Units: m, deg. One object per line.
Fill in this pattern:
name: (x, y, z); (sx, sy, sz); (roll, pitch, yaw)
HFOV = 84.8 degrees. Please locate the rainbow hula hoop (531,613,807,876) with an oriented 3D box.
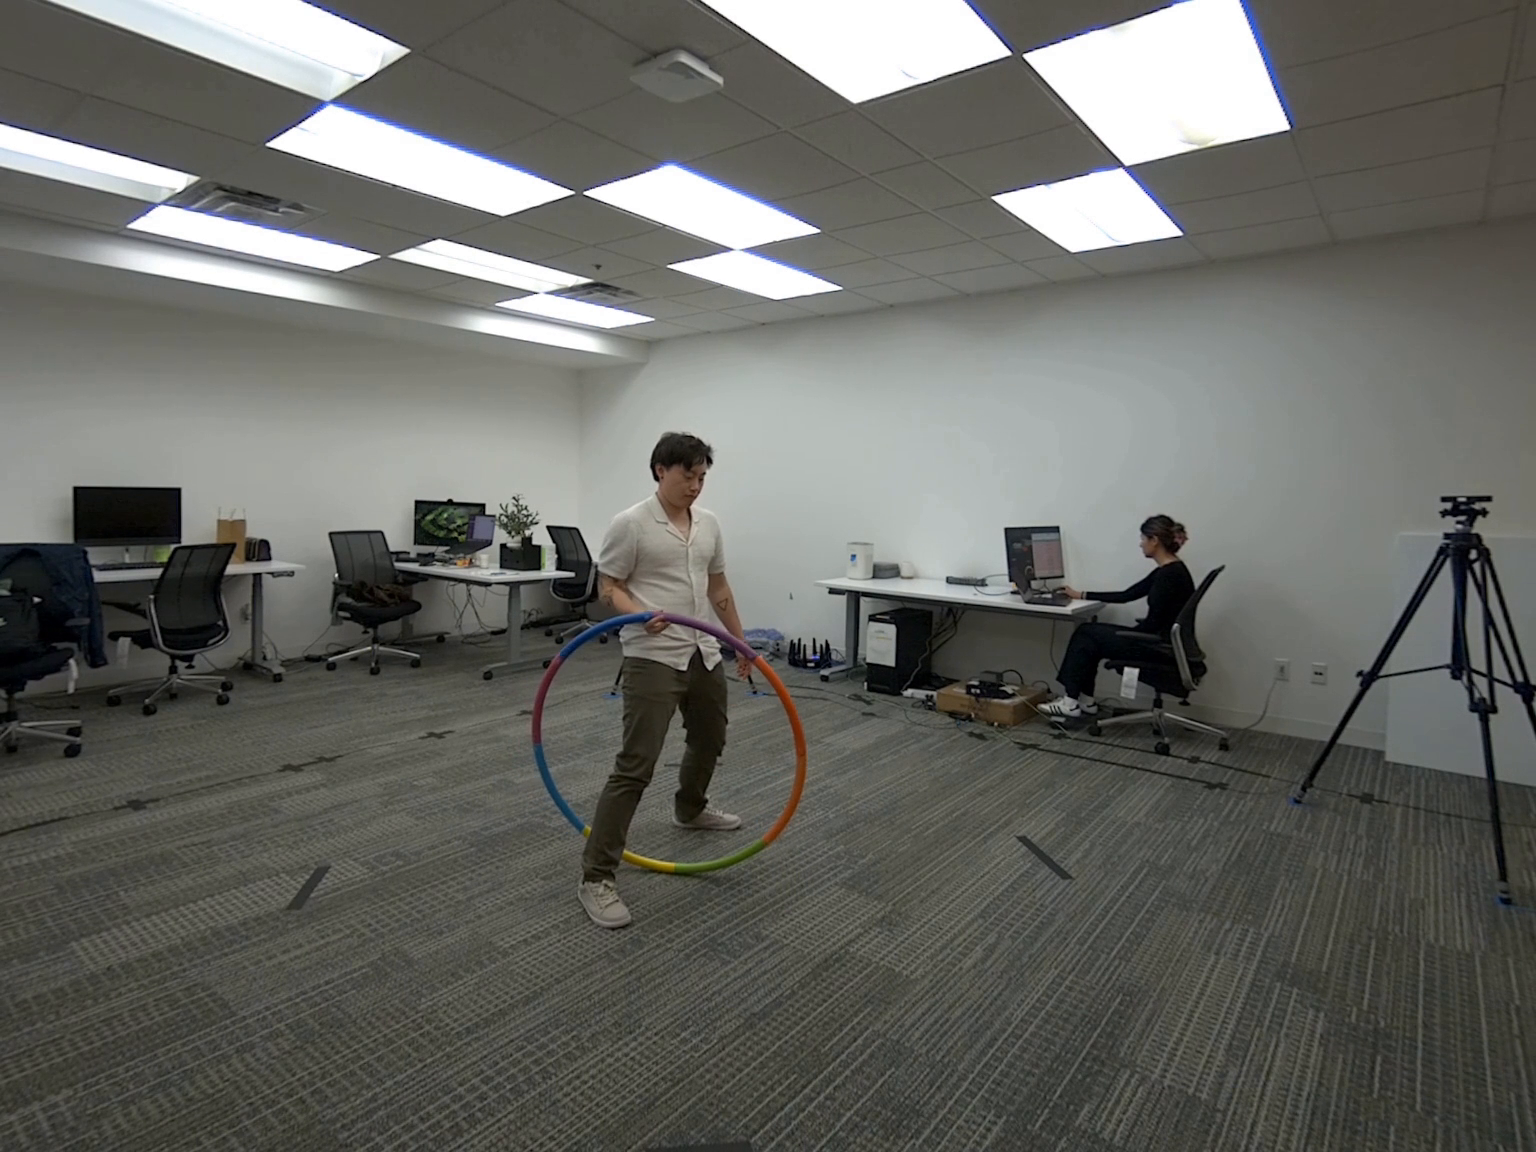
rainbow hula hoop: (-0.370, 0.591, 2.948); (0.991, 0.964, 0.035); (2, 15, 12)
